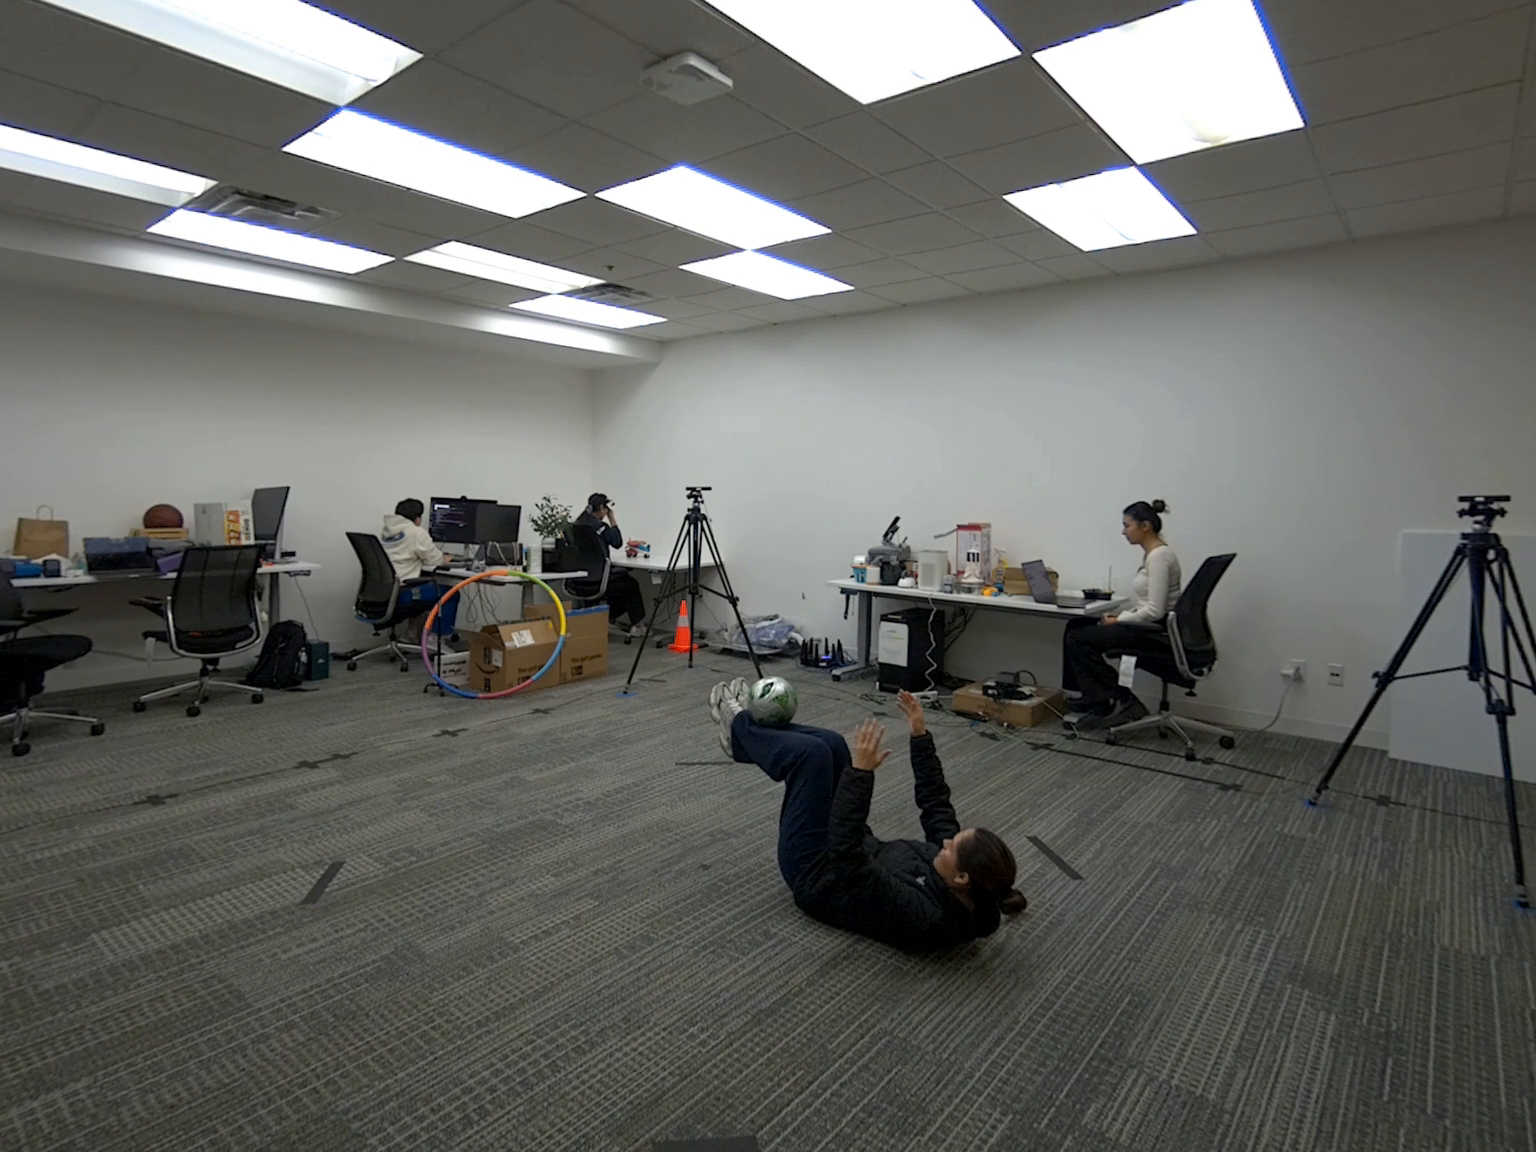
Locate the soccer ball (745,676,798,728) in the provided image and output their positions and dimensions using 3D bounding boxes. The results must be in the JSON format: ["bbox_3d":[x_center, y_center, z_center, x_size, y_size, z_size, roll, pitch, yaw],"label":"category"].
[{"bbox_3d":[0.005,0.461,3.097,0.187,0.187,0.188,-3,3,-2],"label":"soccer ball"}]
